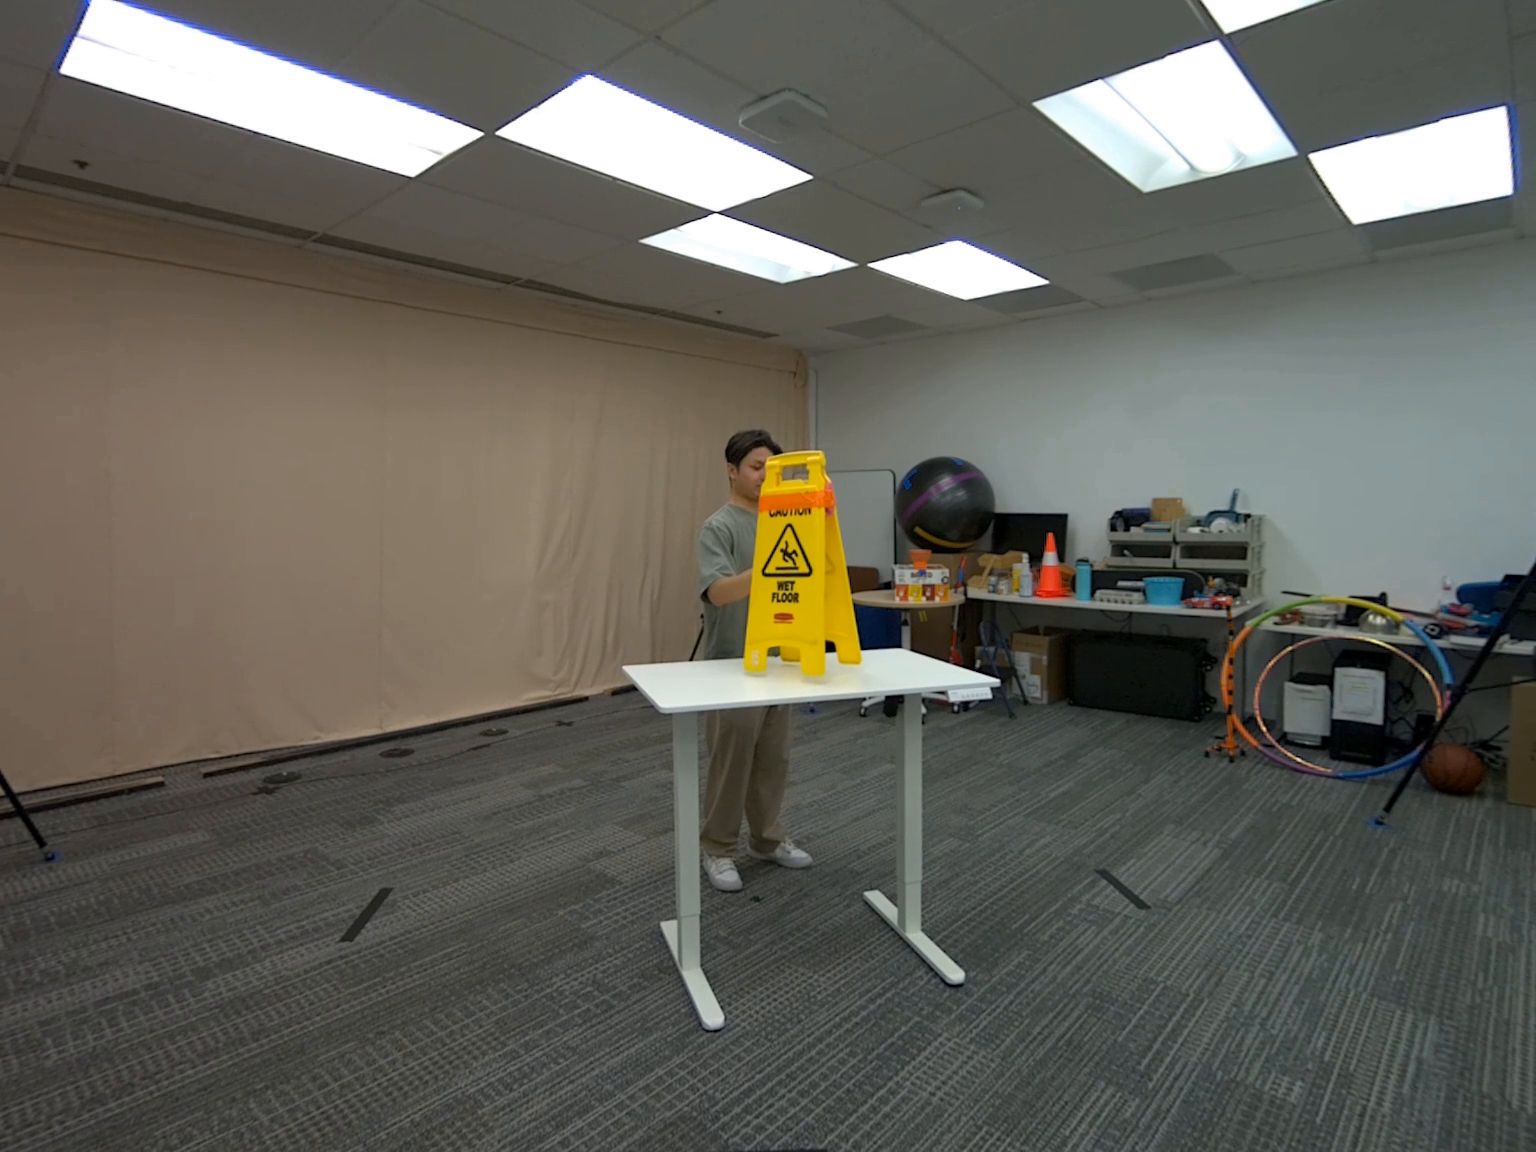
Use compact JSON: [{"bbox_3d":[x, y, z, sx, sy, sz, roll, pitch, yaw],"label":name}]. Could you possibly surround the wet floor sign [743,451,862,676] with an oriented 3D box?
[{"bbox_3d":[0.097,-0.047,2.545,0.290,0.646,0.281,-3,0,33],"label":"wet floor sign"}]
